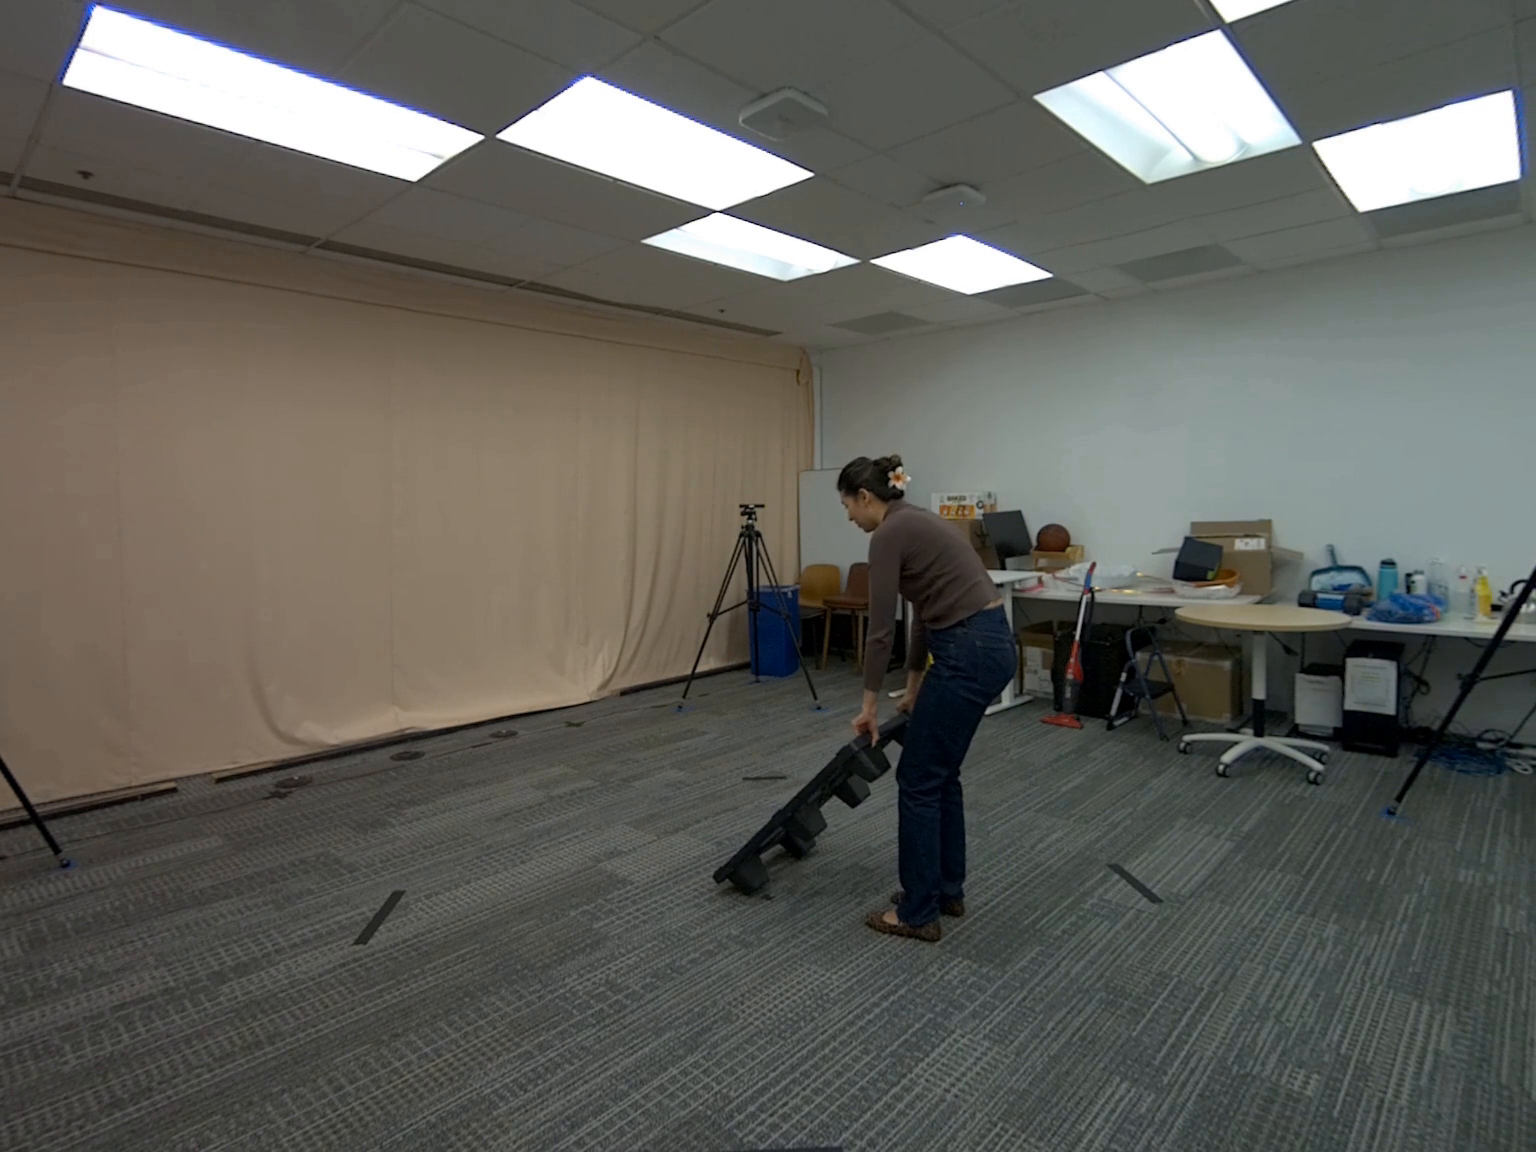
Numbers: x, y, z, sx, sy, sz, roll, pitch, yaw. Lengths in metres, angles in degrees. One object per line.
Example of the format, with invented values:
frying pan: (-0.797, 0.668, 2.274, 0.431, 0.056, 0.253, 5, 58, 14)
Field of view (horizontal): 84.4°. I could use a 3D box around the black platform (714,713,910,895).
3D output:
black platform: (0.218, 0.814, 3.045, 0.809, 0.146, 0.589, -50, -21, 25)
